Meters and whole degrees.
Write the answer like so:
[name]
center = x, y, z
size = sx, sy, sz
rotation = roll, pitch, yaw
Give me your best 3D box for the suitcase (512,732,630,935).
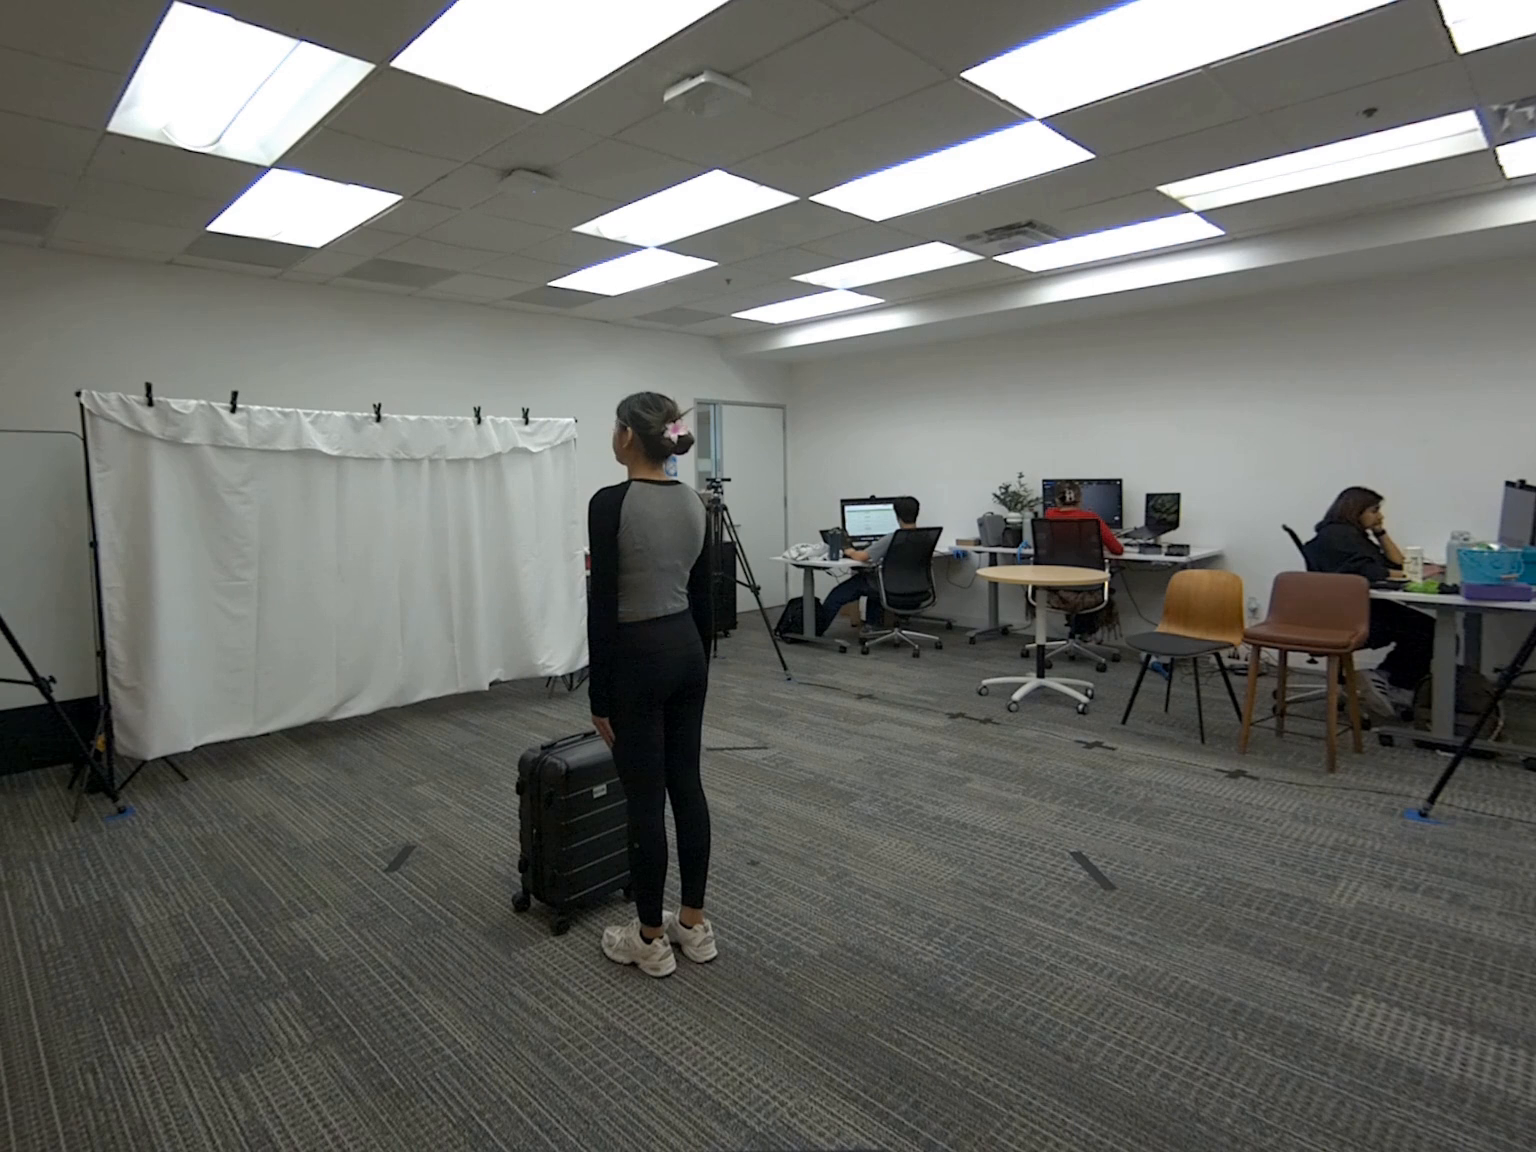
[suitcase]
center = -0.620, 0.811, 2.825
size = 0.256, 0.548, 0.365
rotation = 2, 4, 42
